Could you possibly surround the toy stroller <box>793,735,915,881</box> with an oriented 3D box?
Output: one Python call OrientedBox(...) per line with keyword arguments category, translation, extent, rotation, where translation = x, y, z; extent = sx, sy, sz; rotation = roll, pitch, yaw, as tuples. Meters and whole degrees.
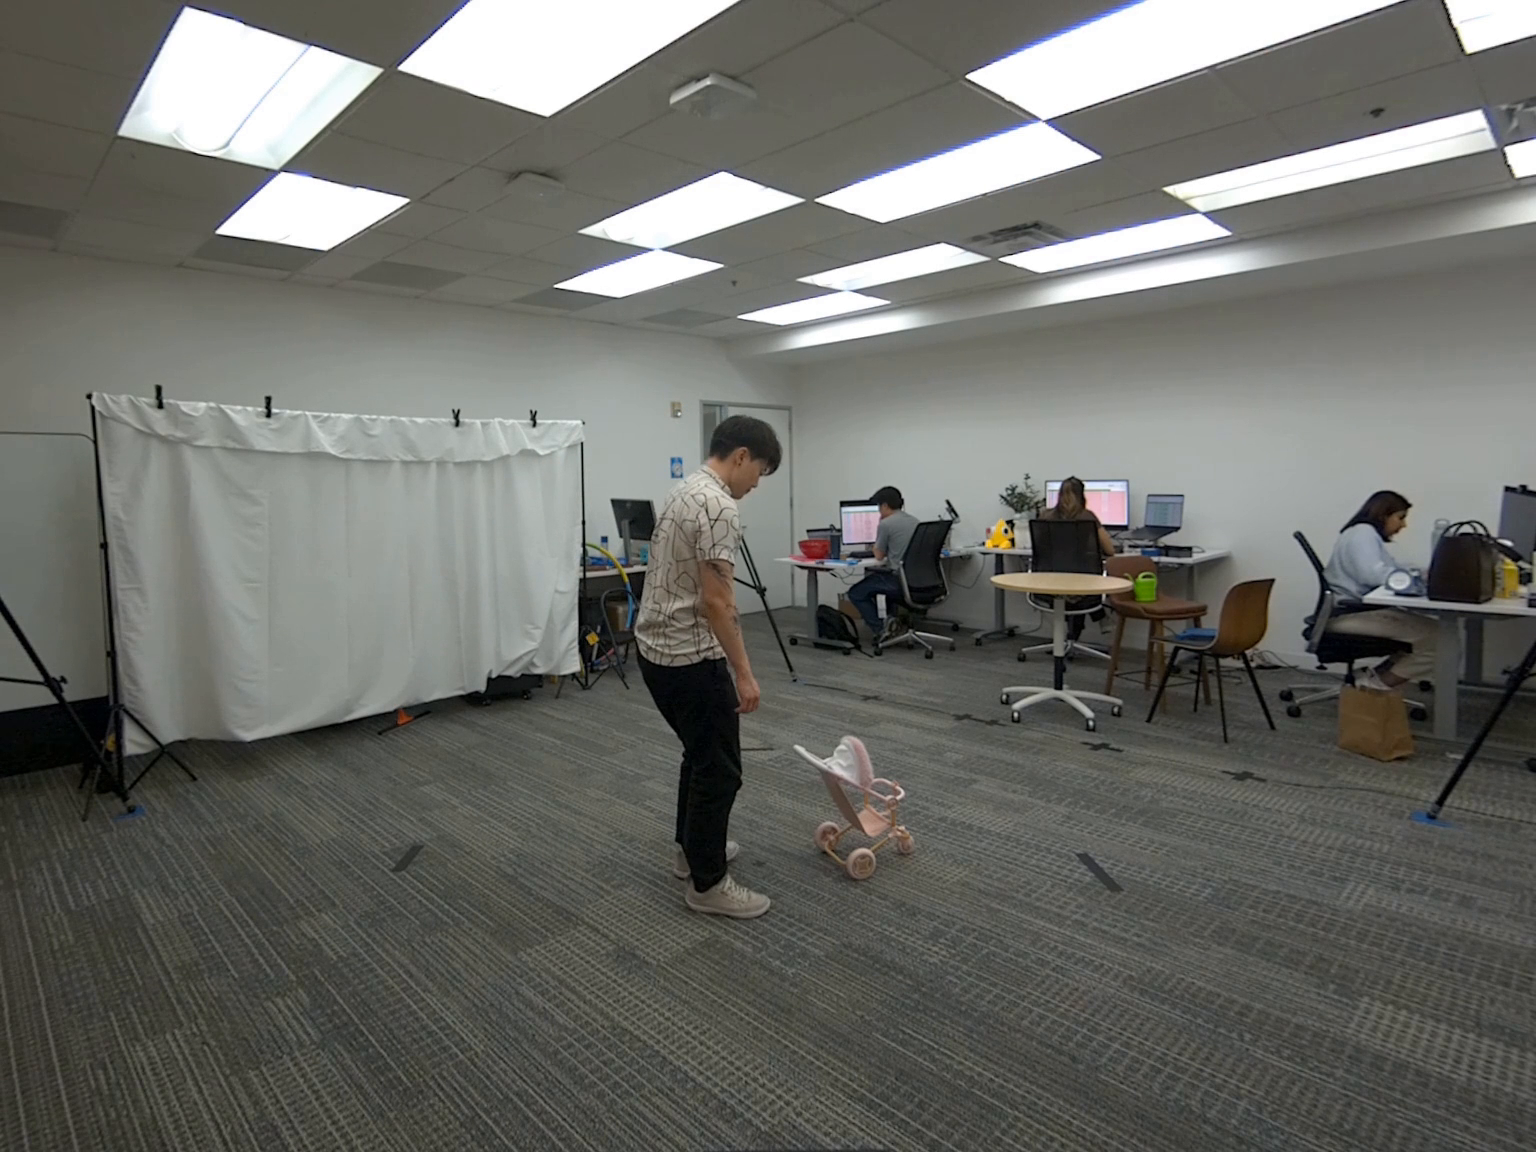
OrientedBox(category="toy stroller", translation=(0.334, 0.817, 3.099), extent=(0.338, 0.530, 0.287), rotation=(-19, 9, -15))
